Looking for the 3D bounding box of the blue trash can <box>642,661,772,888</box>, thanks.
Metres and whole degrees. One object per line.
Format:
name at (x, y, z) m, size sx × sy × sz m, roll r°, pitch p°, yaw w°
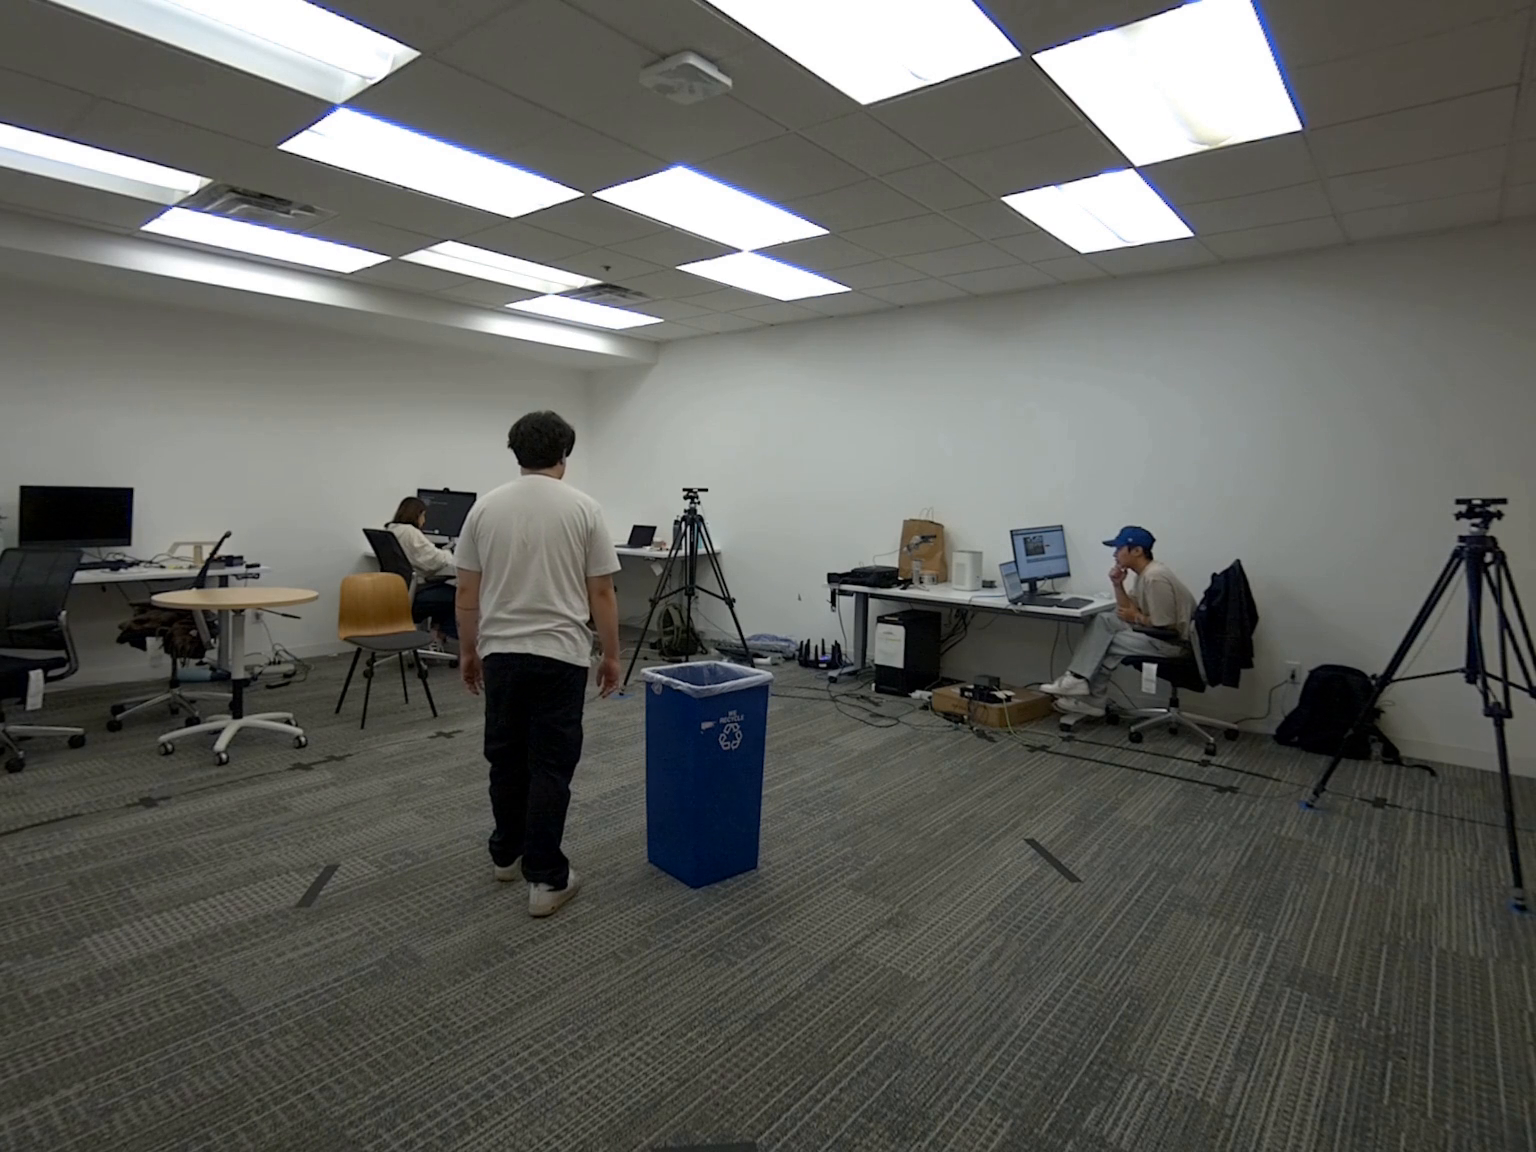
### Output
blue trash can at (-0.241, 0.707, 3.144) m, size 0.363 × 0.711 × 0.391 m, roll -2°, pitch 5°, yaw -41°
